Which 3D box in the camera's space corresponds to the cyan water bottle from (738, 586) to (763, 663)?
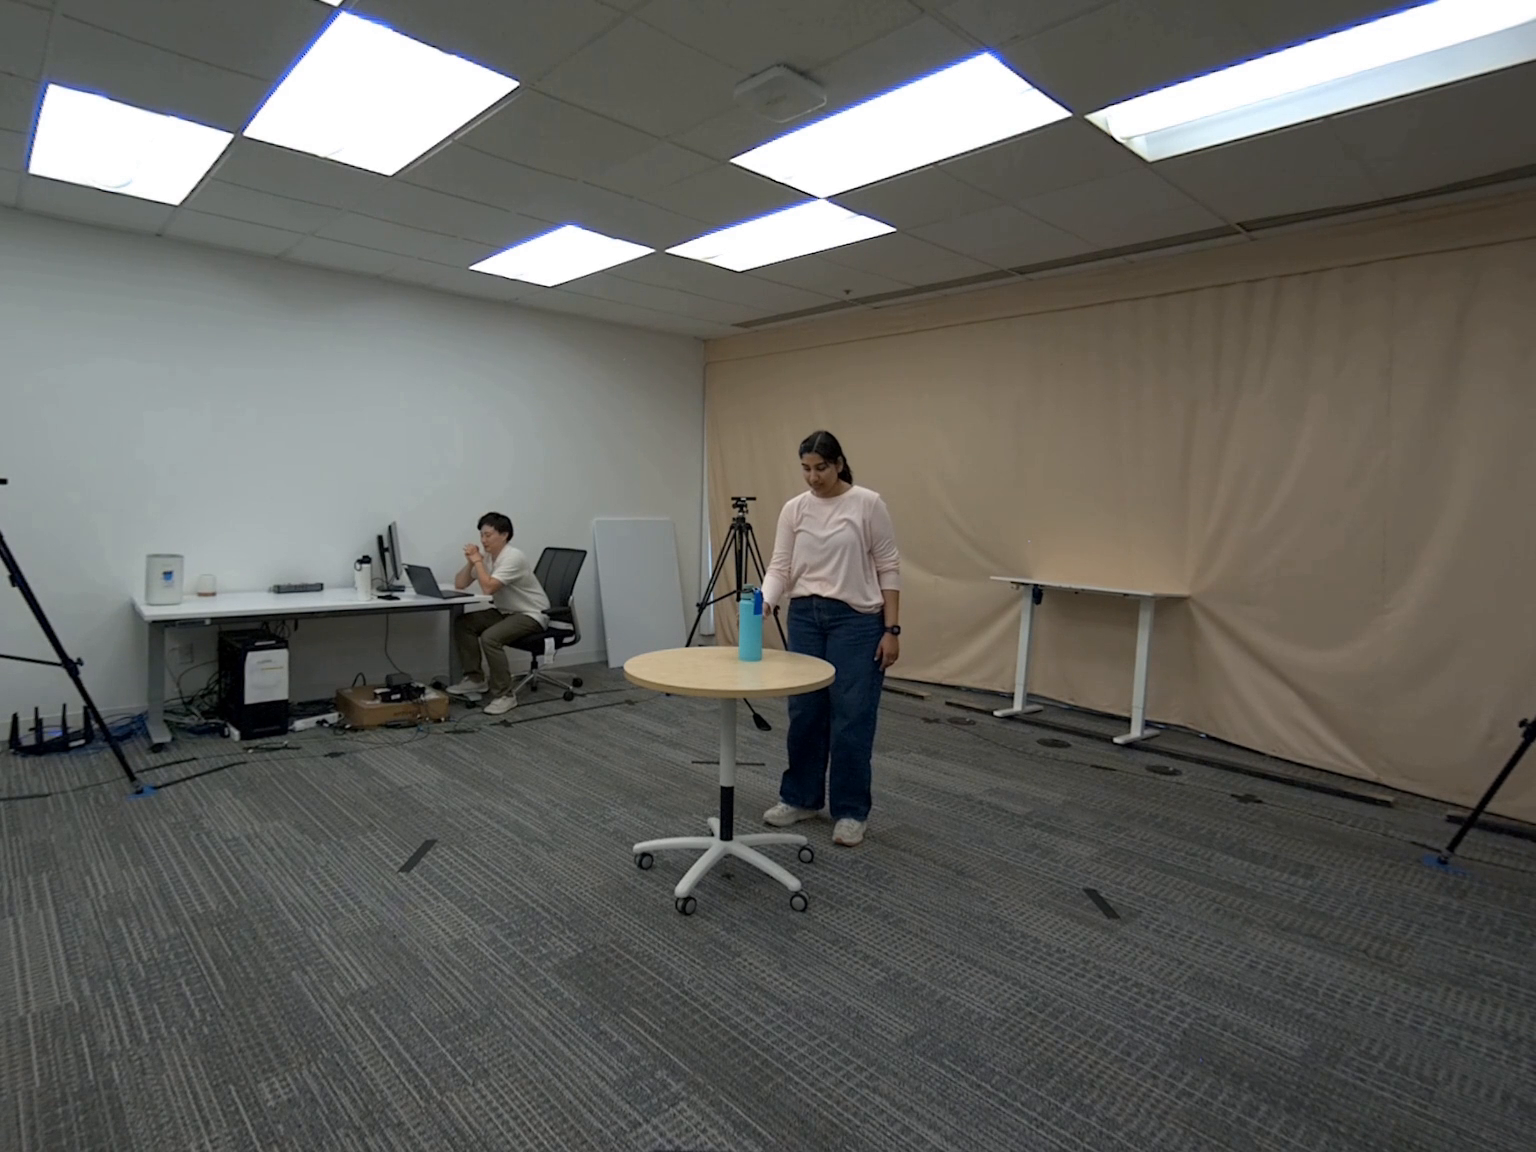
[{"bbox_3d":[-0.070,0.178,3.180,0.092,0.282,0.093,2,6,-2],"label":"cyan water bottle"}]
